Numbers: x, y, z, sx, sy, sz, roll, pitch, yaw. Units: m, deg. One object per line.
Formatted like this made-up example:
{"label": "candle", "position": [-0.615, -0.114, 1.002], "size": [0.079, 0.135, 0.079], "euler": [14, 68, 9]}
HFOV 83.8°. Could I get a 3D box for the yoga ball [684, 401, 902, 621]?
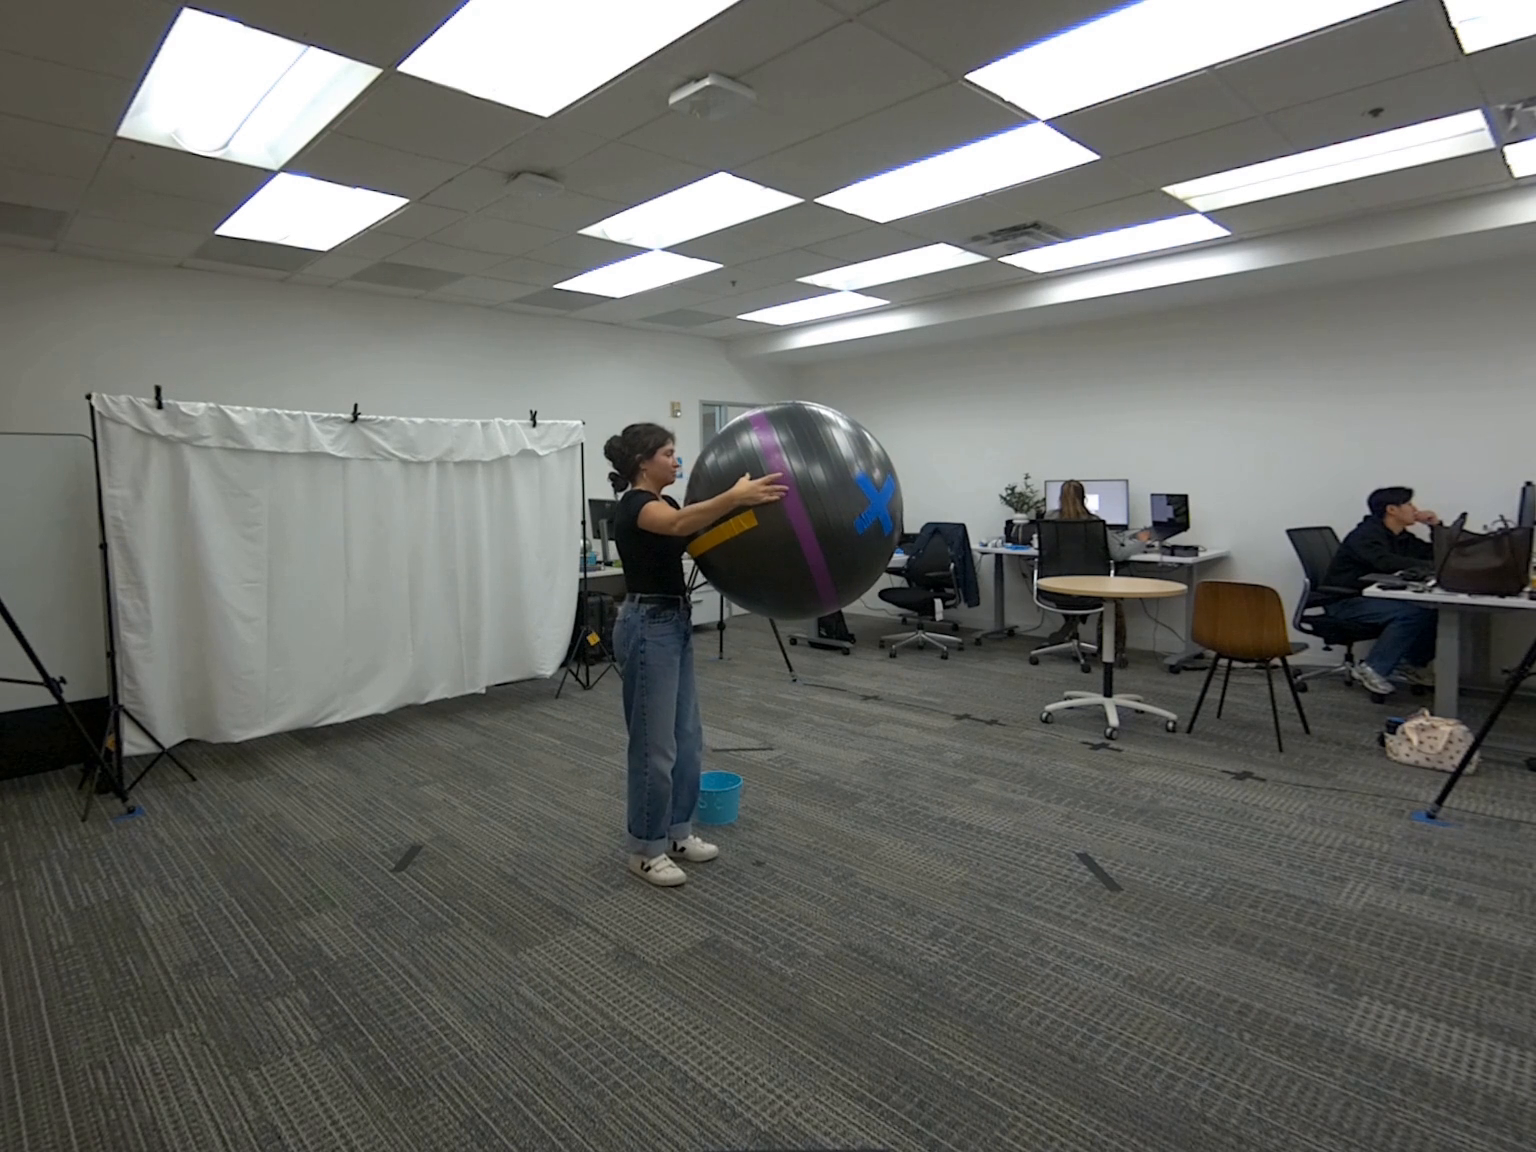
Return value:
{"label": "yoga ball", "position": [0.094, -0.221, 2.968], "size": [0.757, 0.755, 0.762], "euler": [-1, 5, -2]}
